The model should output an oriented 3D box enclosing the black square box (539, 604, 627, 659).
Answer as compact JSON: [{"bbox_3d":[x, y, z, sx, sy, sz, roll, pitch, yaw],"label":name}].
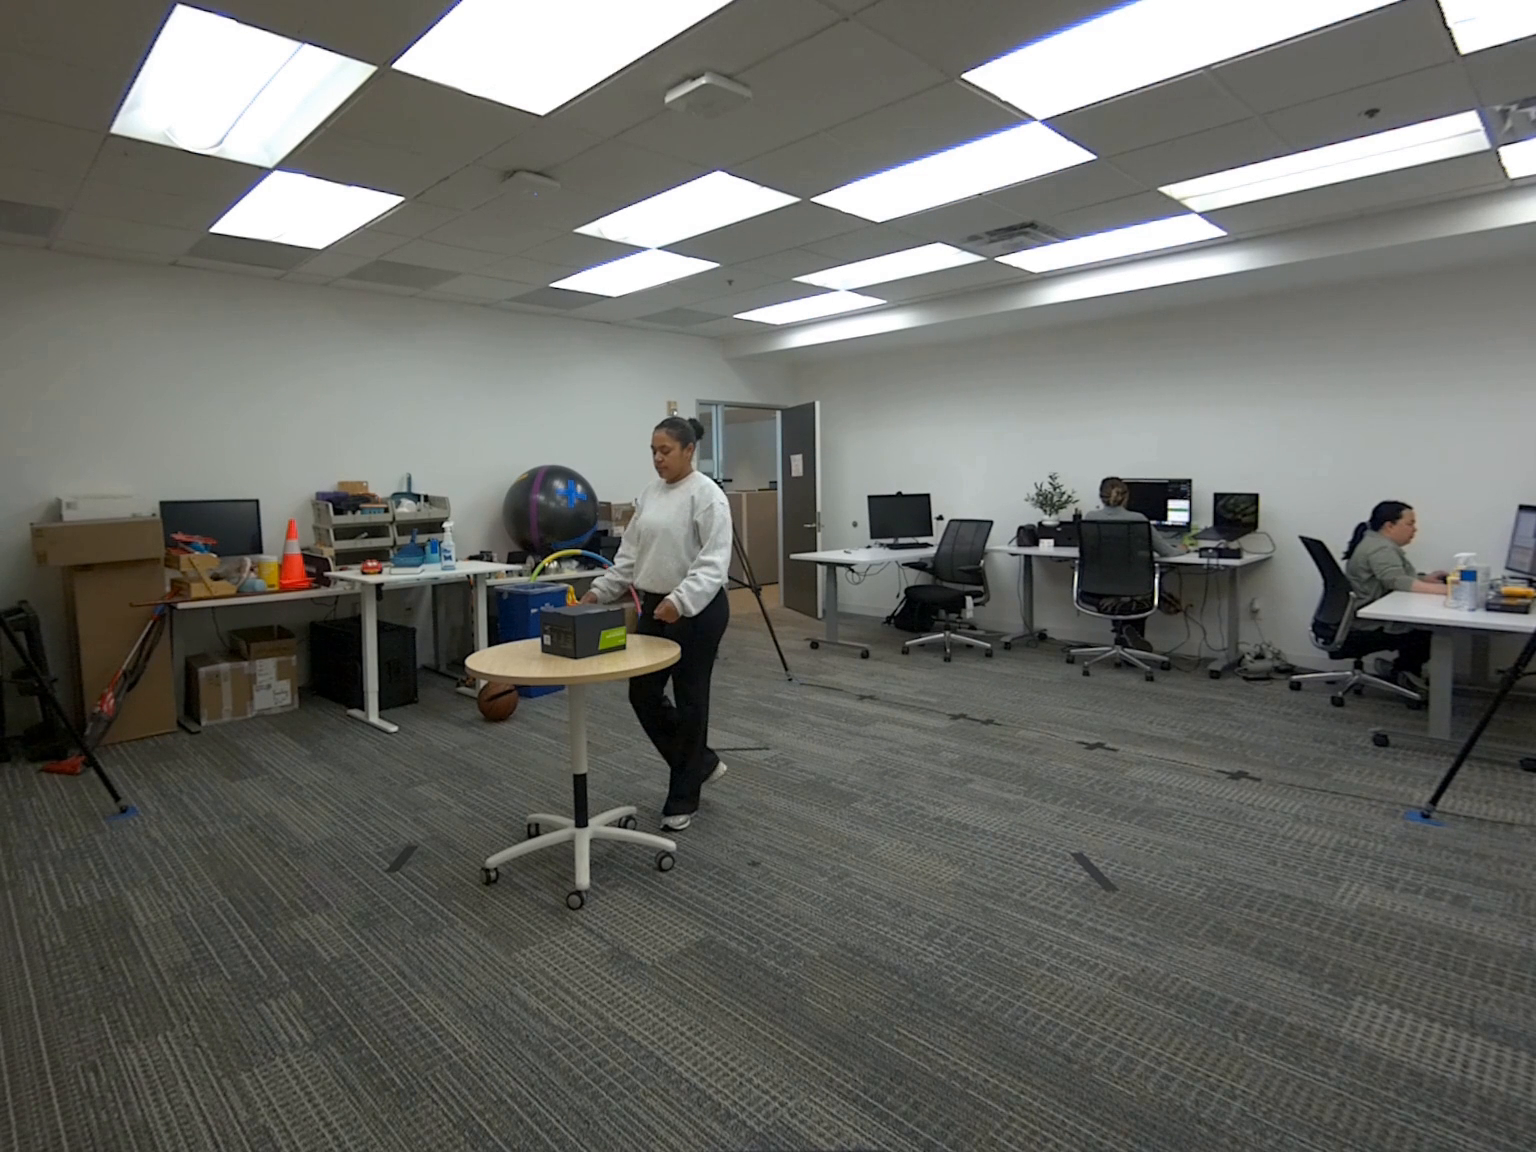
[{"bbox_3d":[-0.676,0.196,3.109,0.223,0.155,0.222,4,8,44],"label":"black square box"}]
